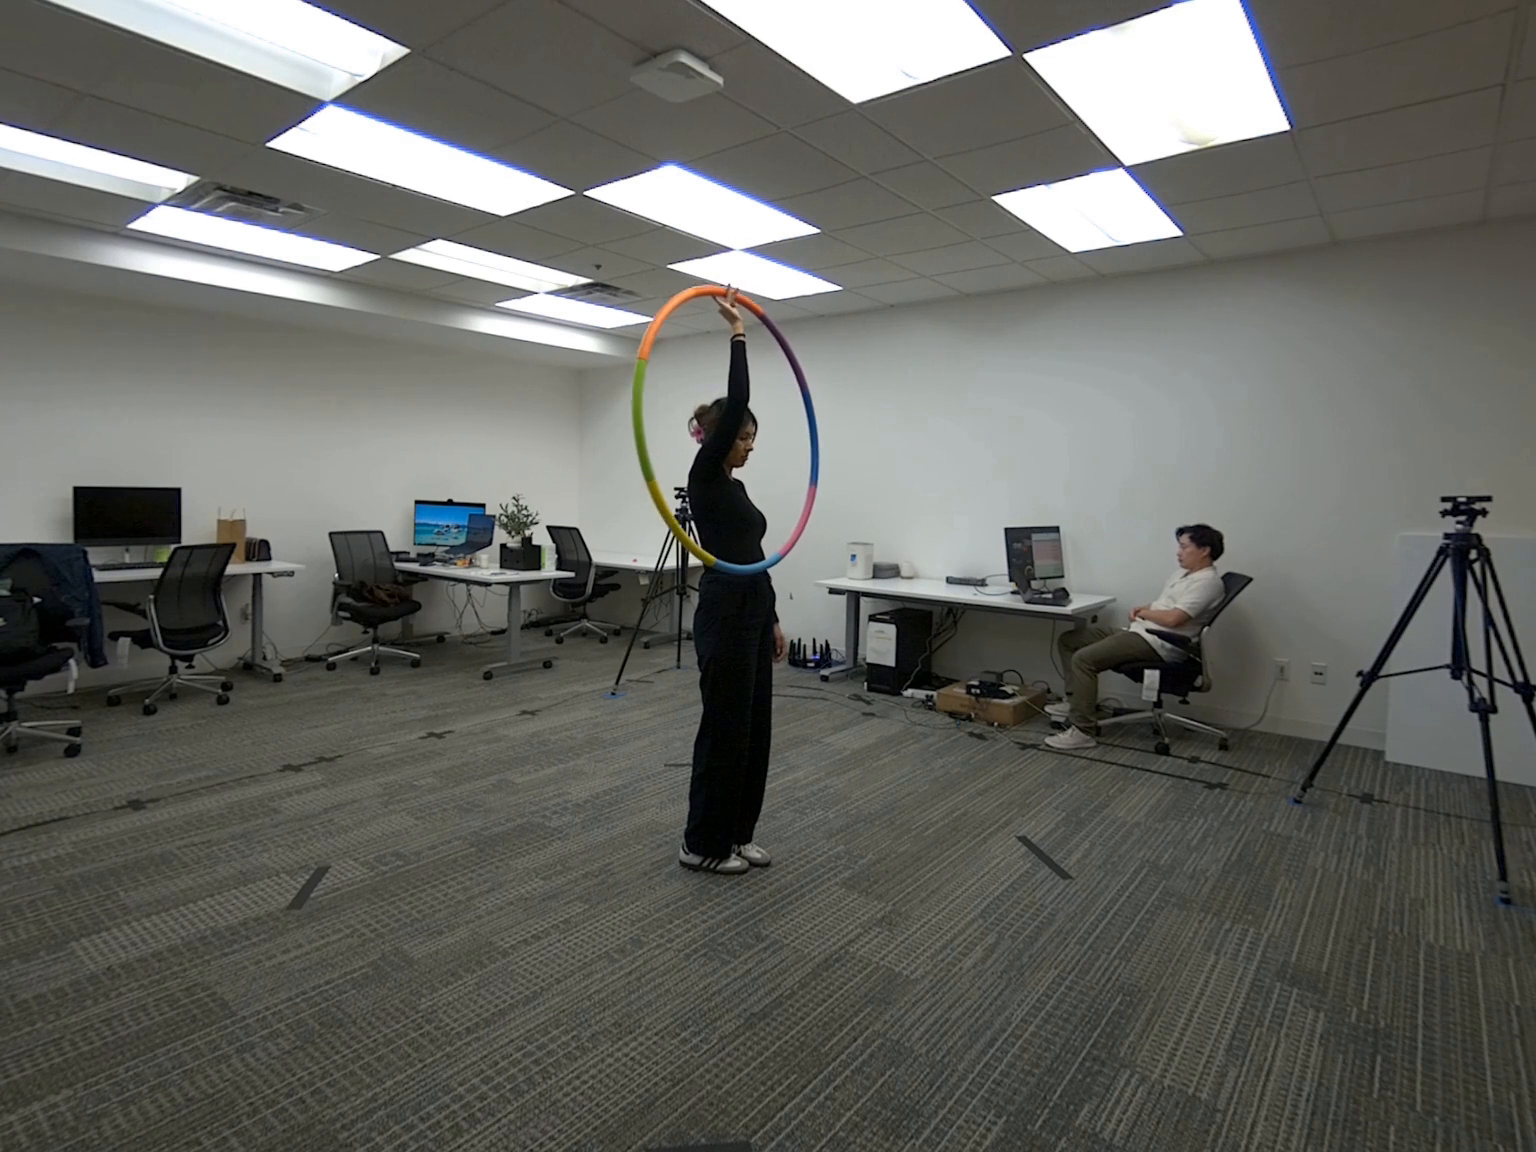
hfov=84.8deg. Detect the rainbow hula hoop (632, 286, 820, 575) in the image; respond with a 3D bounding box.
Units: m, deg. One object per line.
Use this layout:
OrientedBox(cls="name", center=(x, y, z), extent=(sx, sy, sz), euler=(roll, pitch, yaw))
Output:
OrientedBox(cls="rainbow hula hoop", center=(-0.124, -0.500, 2.929), extent=(0.053, 0.987, 0.956), euler=(-7, -2, 39))
